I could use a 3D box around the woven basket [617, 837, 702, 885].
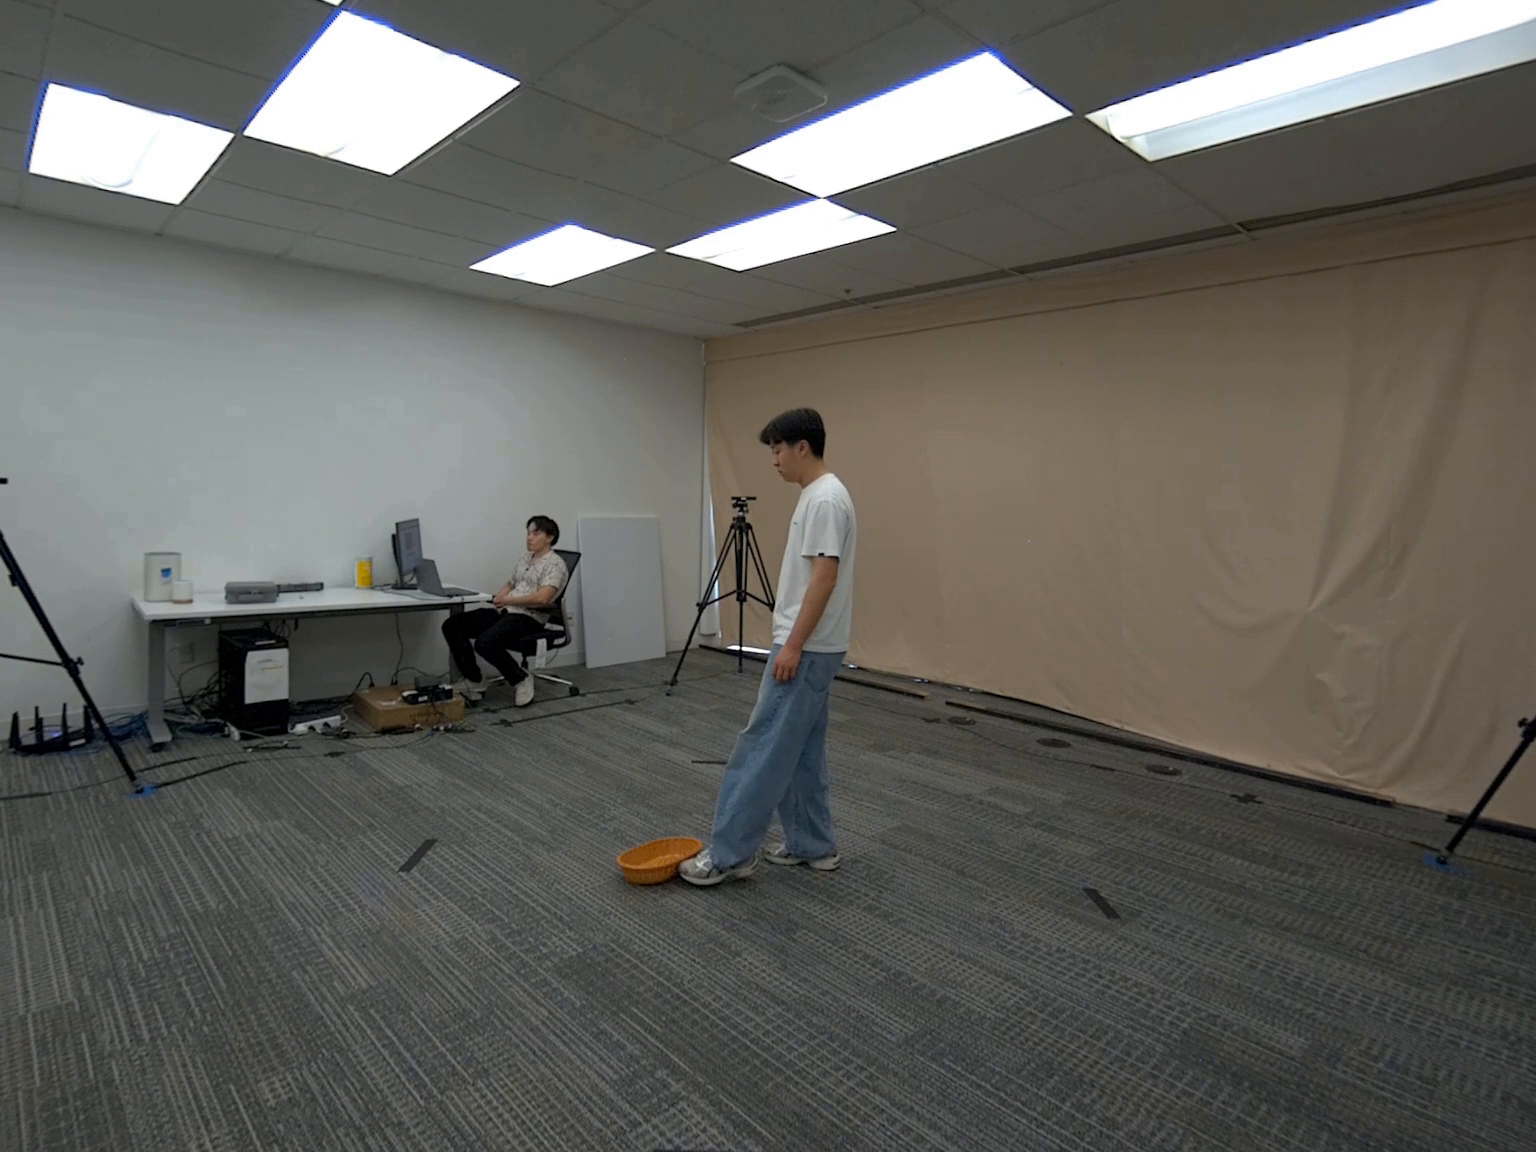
[{"bbox_3d":[-0.385,1.050,3.104,0.258,0.073,0.342,-3,1,44],"label":"woven basket"}]
